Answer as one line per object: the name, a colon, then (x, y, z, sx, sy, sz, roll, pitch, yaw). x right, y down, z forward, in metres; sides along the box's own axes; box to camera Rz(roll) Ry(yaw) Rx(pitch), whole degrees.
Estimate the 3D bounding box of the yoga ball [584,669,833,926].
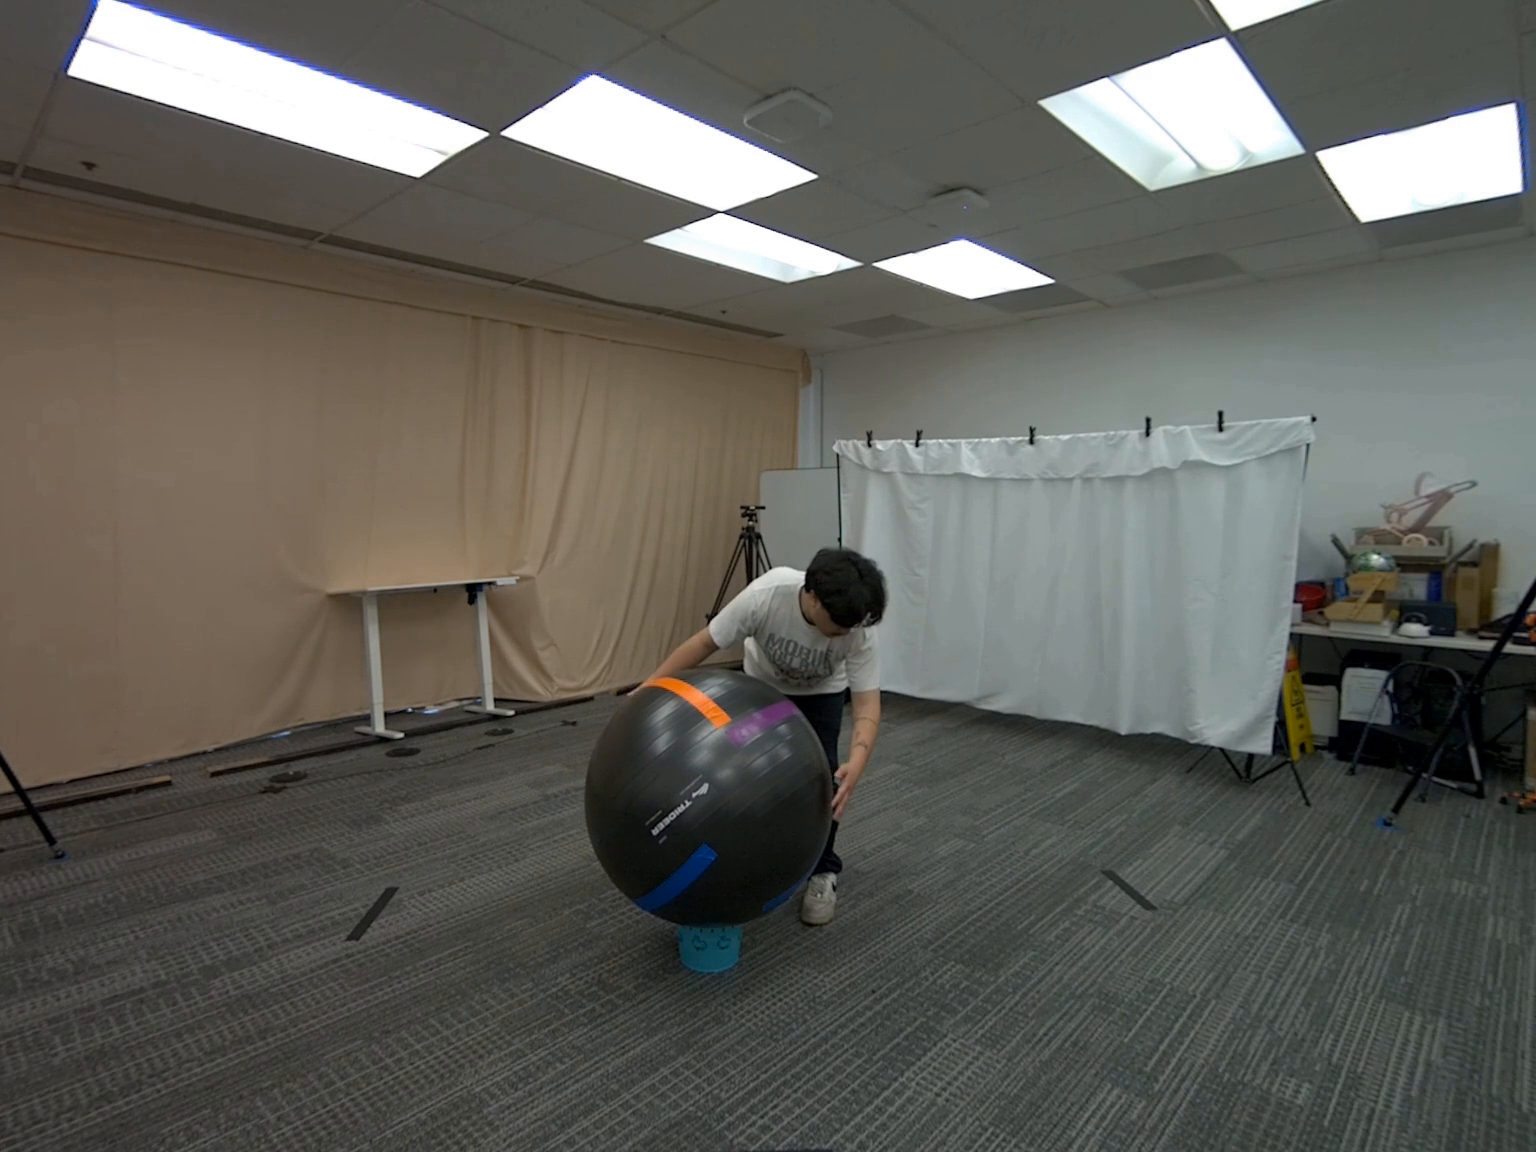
yoga ball: (-0.197, 0.675, 2.570, 0.757, 0.756, 0.760, 0, 4, -2)
